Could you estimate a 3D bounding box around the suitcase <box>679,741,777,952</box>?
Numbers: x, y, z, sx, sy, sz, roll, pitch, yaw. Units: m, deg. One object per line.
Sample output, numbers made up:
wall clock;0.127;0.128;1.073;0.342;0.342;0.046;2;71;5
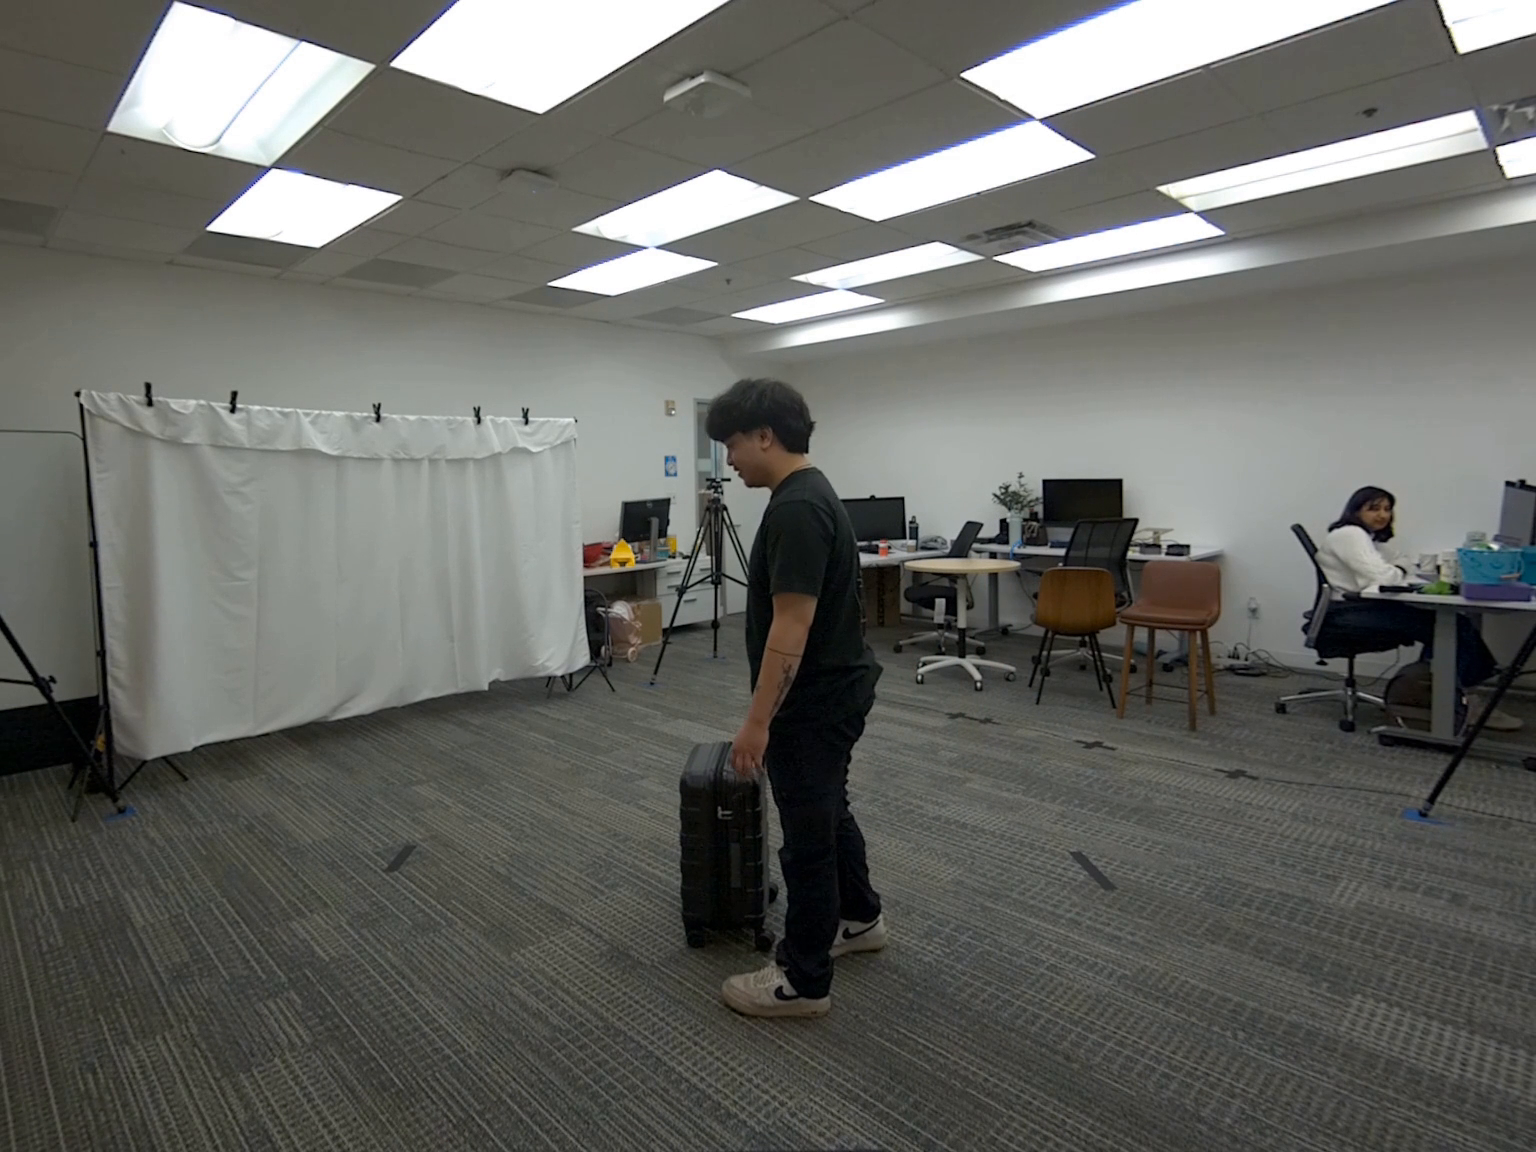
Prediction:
suitcase;-0.124;0.814;2.680;0.249;0.547;0.375;-2;5;4
